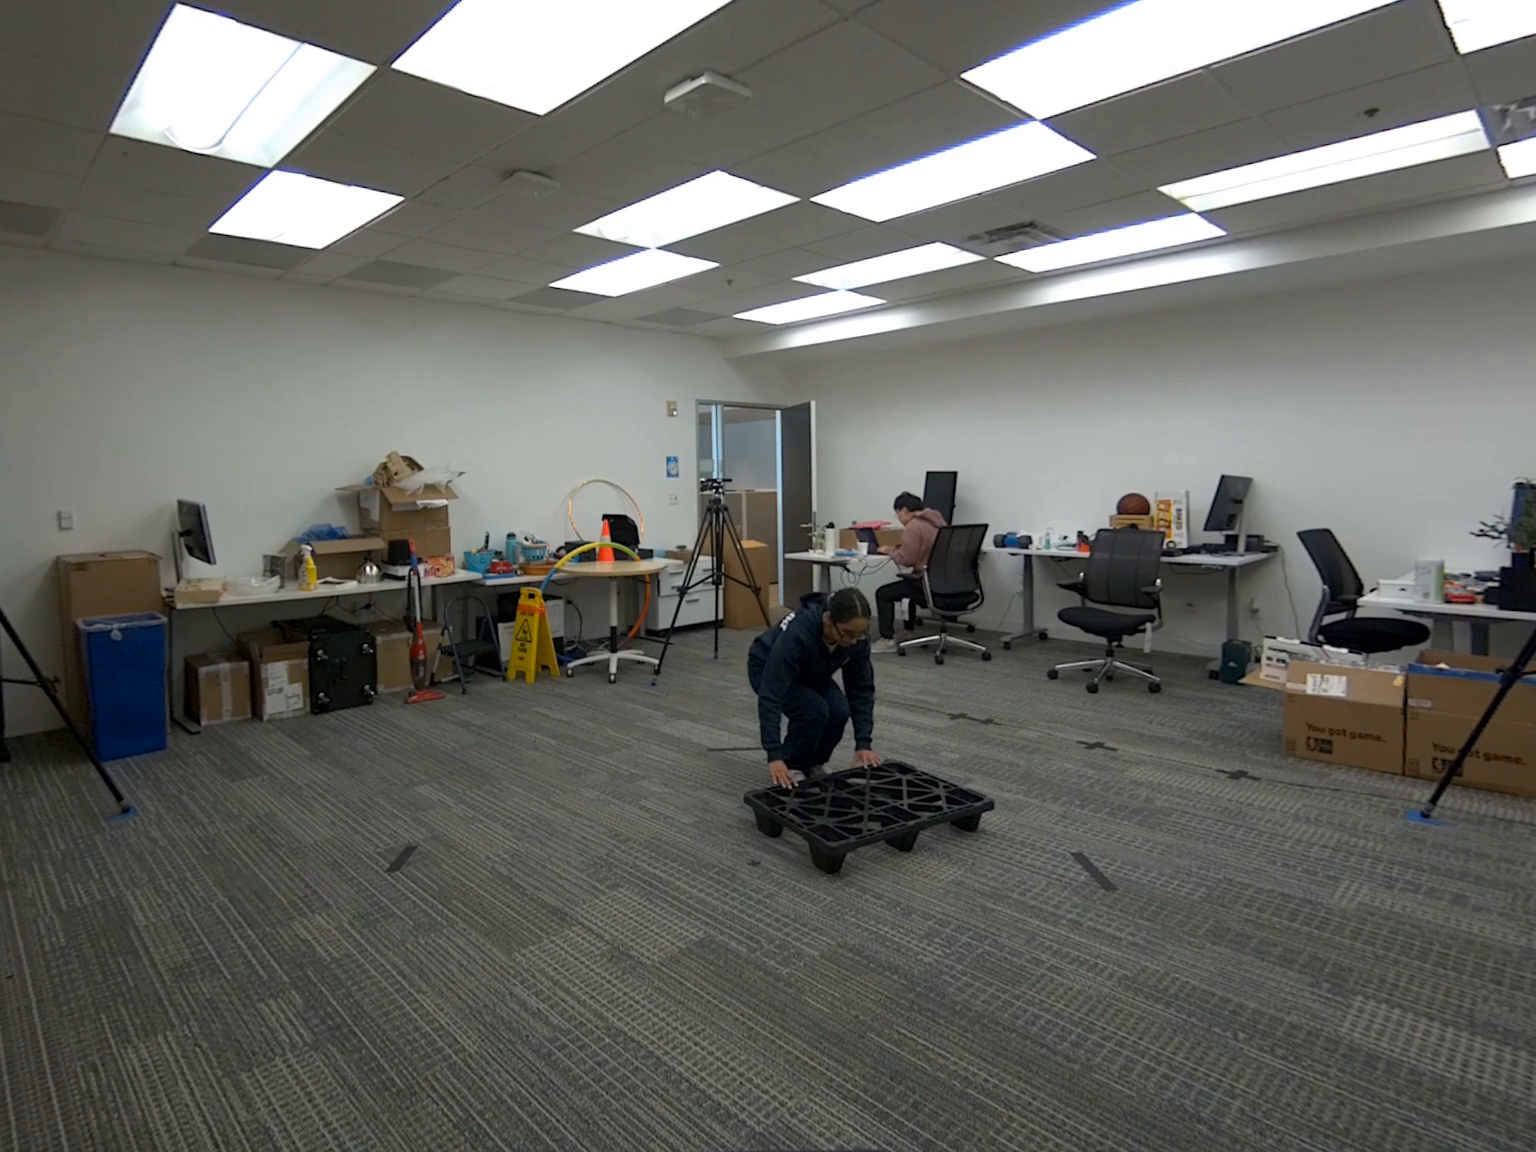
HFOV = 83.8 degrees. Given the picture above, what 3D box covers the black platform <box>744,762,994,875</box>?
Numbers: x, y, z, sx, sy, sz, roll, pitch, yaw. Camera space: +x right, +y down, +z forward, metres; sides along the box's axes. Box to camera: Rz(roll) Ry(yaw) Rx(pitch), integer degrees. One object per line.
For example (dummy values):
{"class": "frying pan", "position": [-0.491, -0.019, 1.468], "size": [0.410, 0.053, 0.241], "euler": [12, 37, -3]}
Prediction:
{"class": "black platform", "position": [0.385, 0.937, 3.383], "size": [0.786, 0.143, 0.622], "euler": [-5, 7, -31]}
